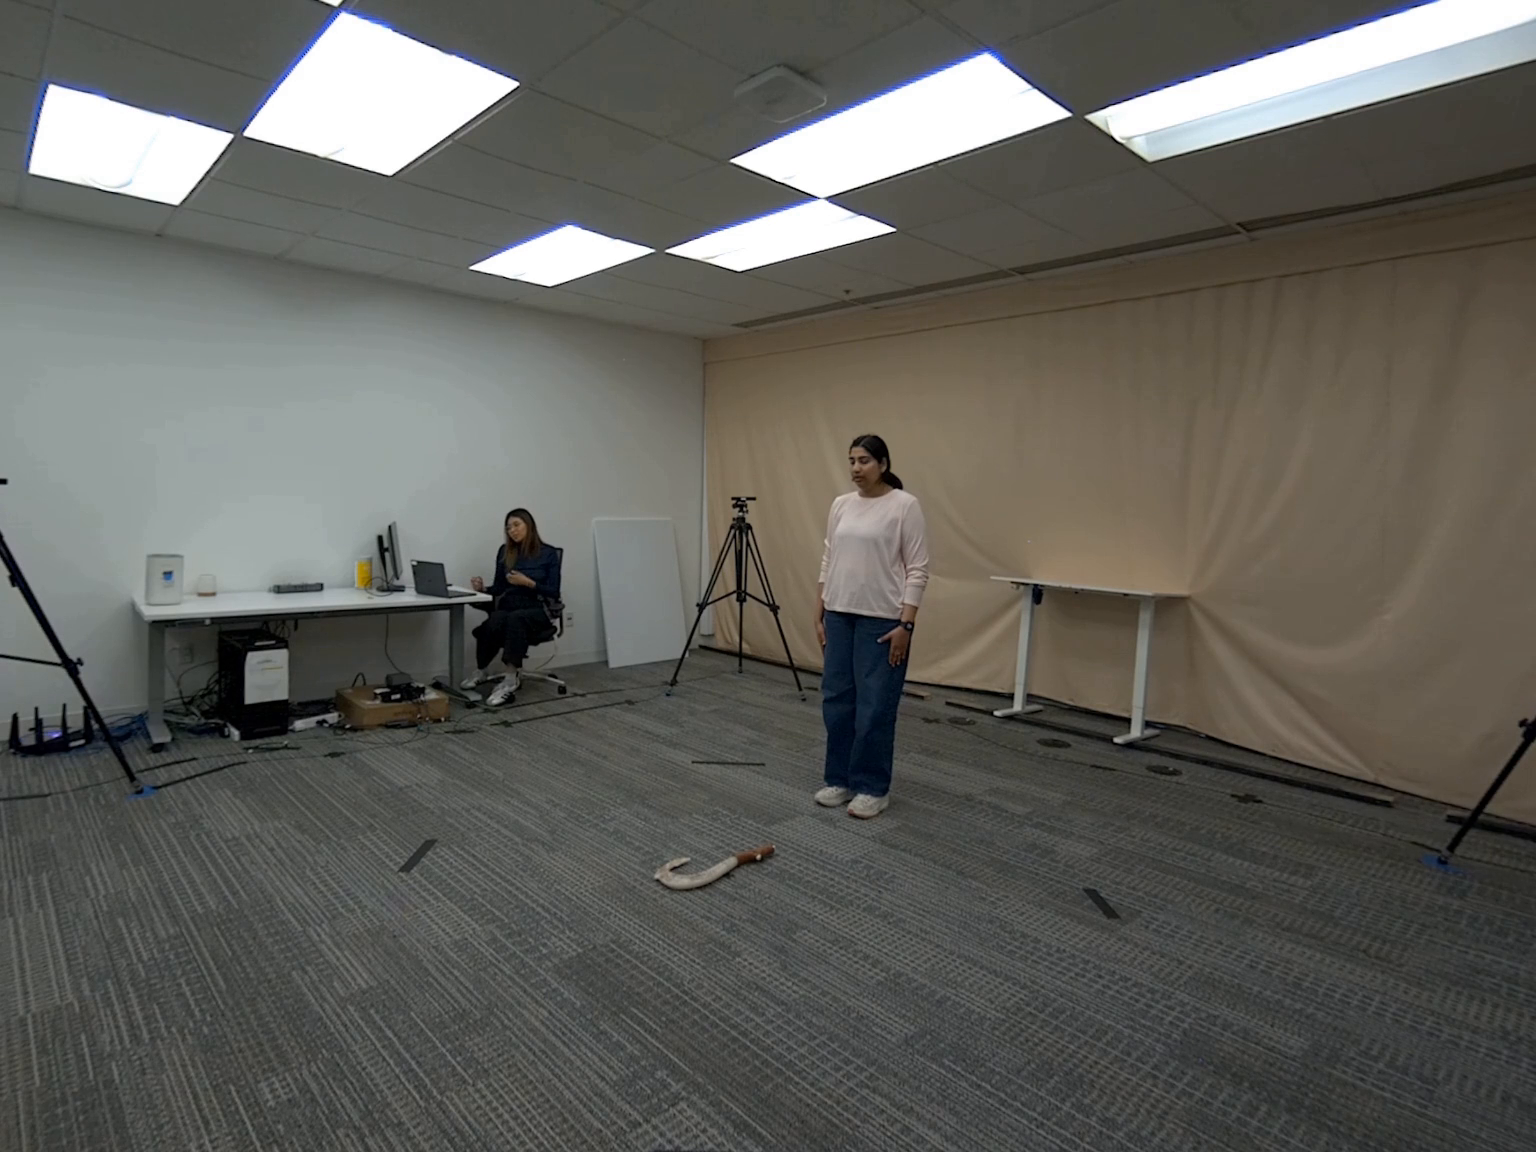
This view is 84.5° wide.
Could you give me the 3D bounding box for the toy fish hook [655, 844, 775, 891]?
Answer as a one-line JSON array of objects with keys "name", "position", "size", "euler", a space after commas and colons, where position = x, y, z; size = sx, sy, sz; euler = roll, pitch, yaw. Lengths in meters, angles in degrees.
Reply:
[{"name": "toy fish hook", "position": [-0.204, 1.078, 3.173], "size": [0.495, 0.048, 0.230], "euler": [-3, 8, -41]}]
